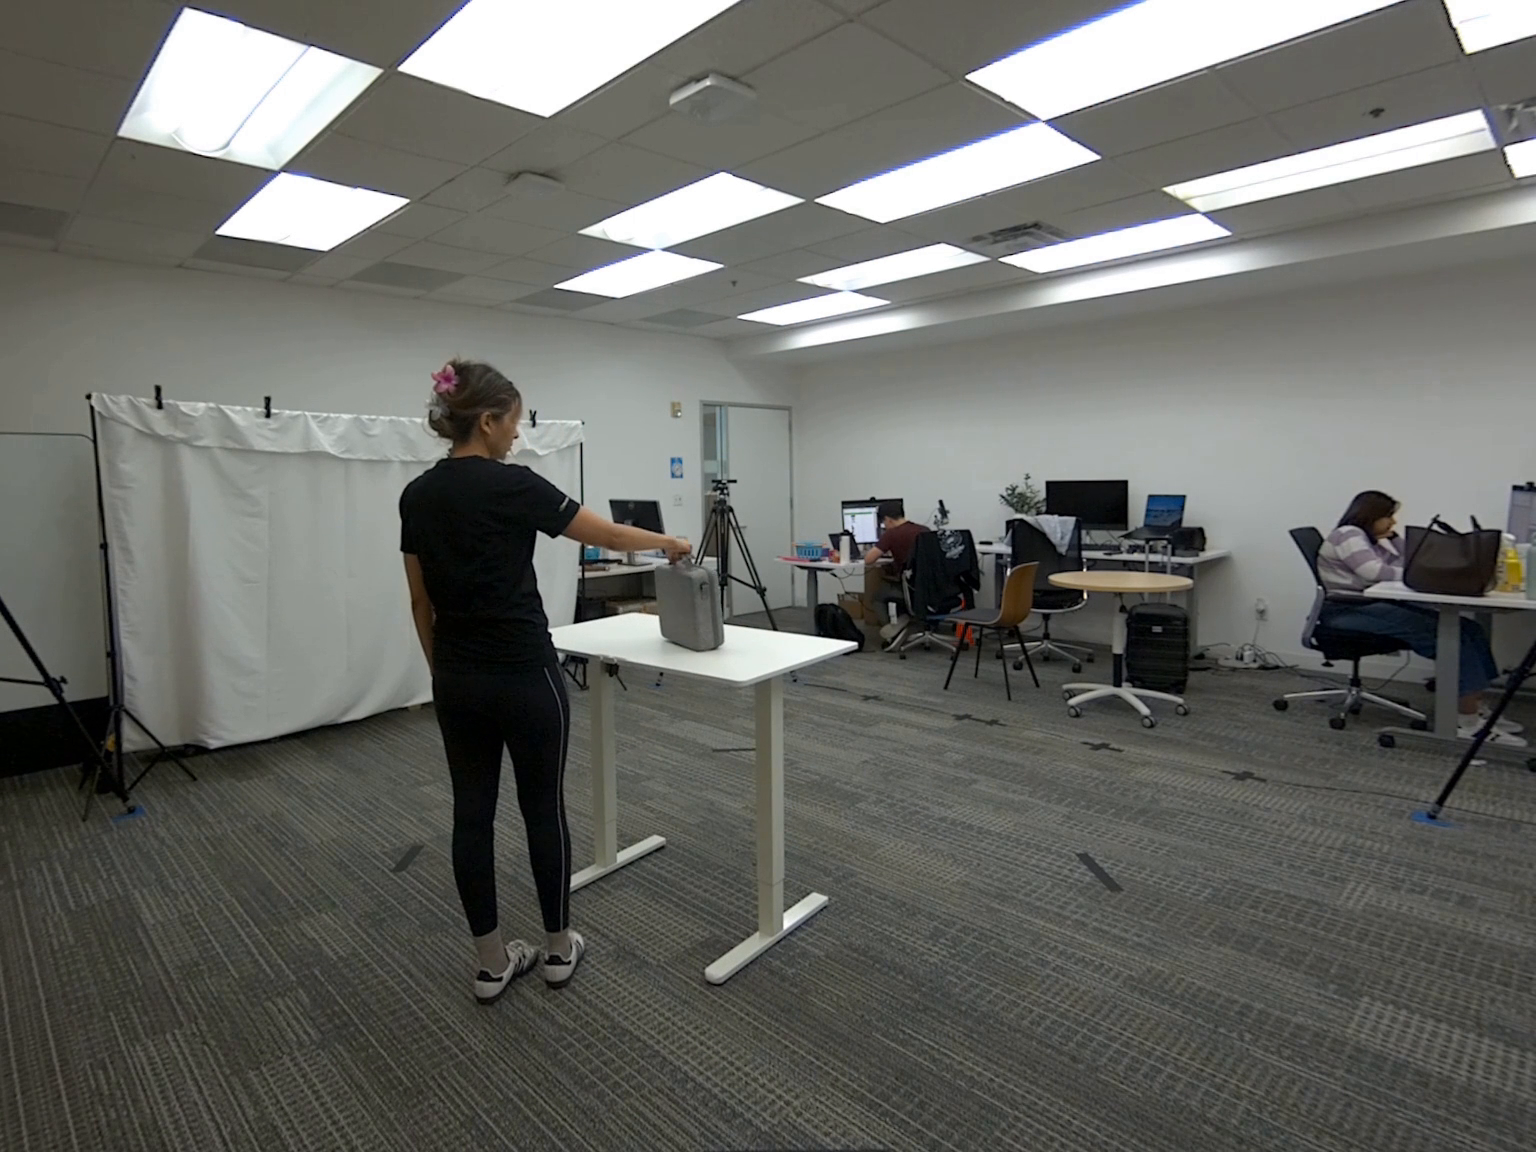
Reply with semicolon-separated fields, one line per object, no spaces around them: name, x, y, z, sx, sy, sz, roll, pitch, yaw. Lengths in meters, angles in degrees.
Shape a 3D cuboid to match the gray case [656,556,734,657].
gray case;-0.232;0.086;2.672;0.102;0.258;0.265;-10;12;-33
